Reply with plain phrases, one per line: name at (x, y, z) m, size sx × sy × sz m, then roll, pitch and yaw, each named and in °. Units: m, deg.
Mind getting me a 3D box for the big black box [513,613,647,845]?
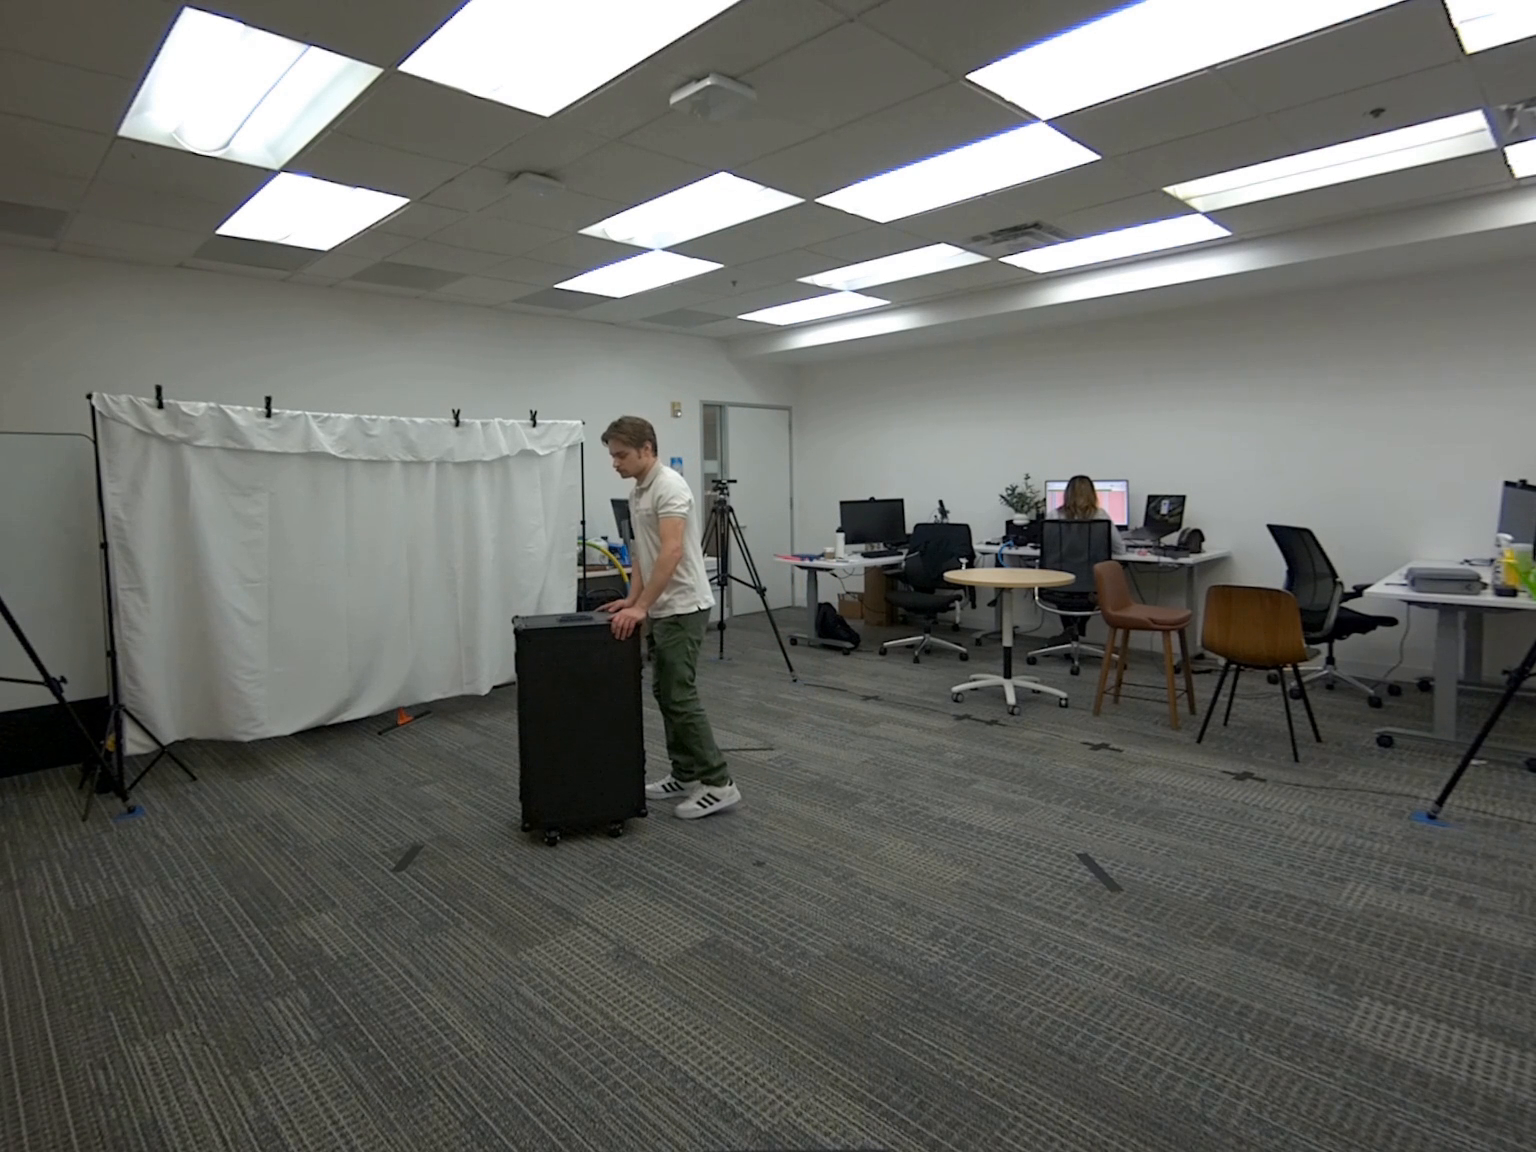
big black box at (-0.779, 0.600, 3.473) m, size 0.516 × 0.866 × 0.391 m, roll -2°, pitch 3°, yaw -15°
